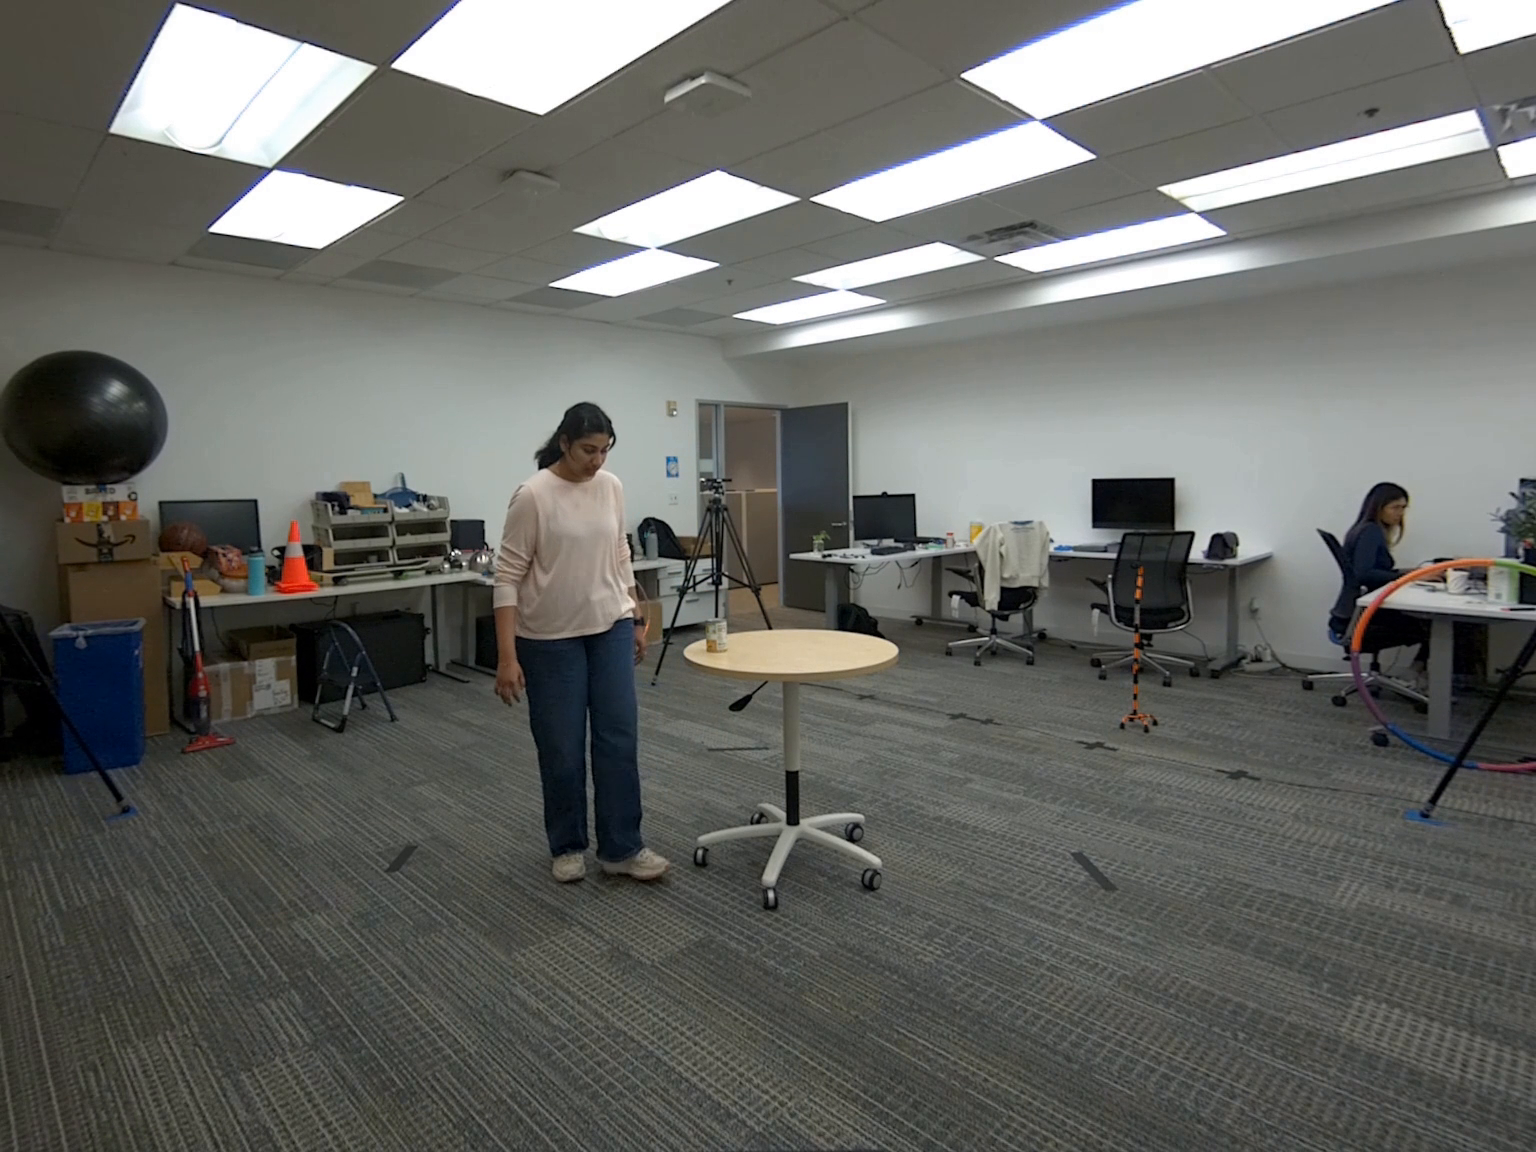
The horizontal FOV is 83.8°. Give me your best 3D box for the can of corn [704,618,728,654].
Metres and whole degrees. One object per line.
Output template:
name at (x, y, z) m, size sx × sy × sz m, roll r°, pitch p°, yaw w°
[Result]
can of corn at (-0.189, 0.219, 3.062) m, size 0.074 × 0.110 × 0.075 m, roll -5°, pitch 6°, yaw -1°
